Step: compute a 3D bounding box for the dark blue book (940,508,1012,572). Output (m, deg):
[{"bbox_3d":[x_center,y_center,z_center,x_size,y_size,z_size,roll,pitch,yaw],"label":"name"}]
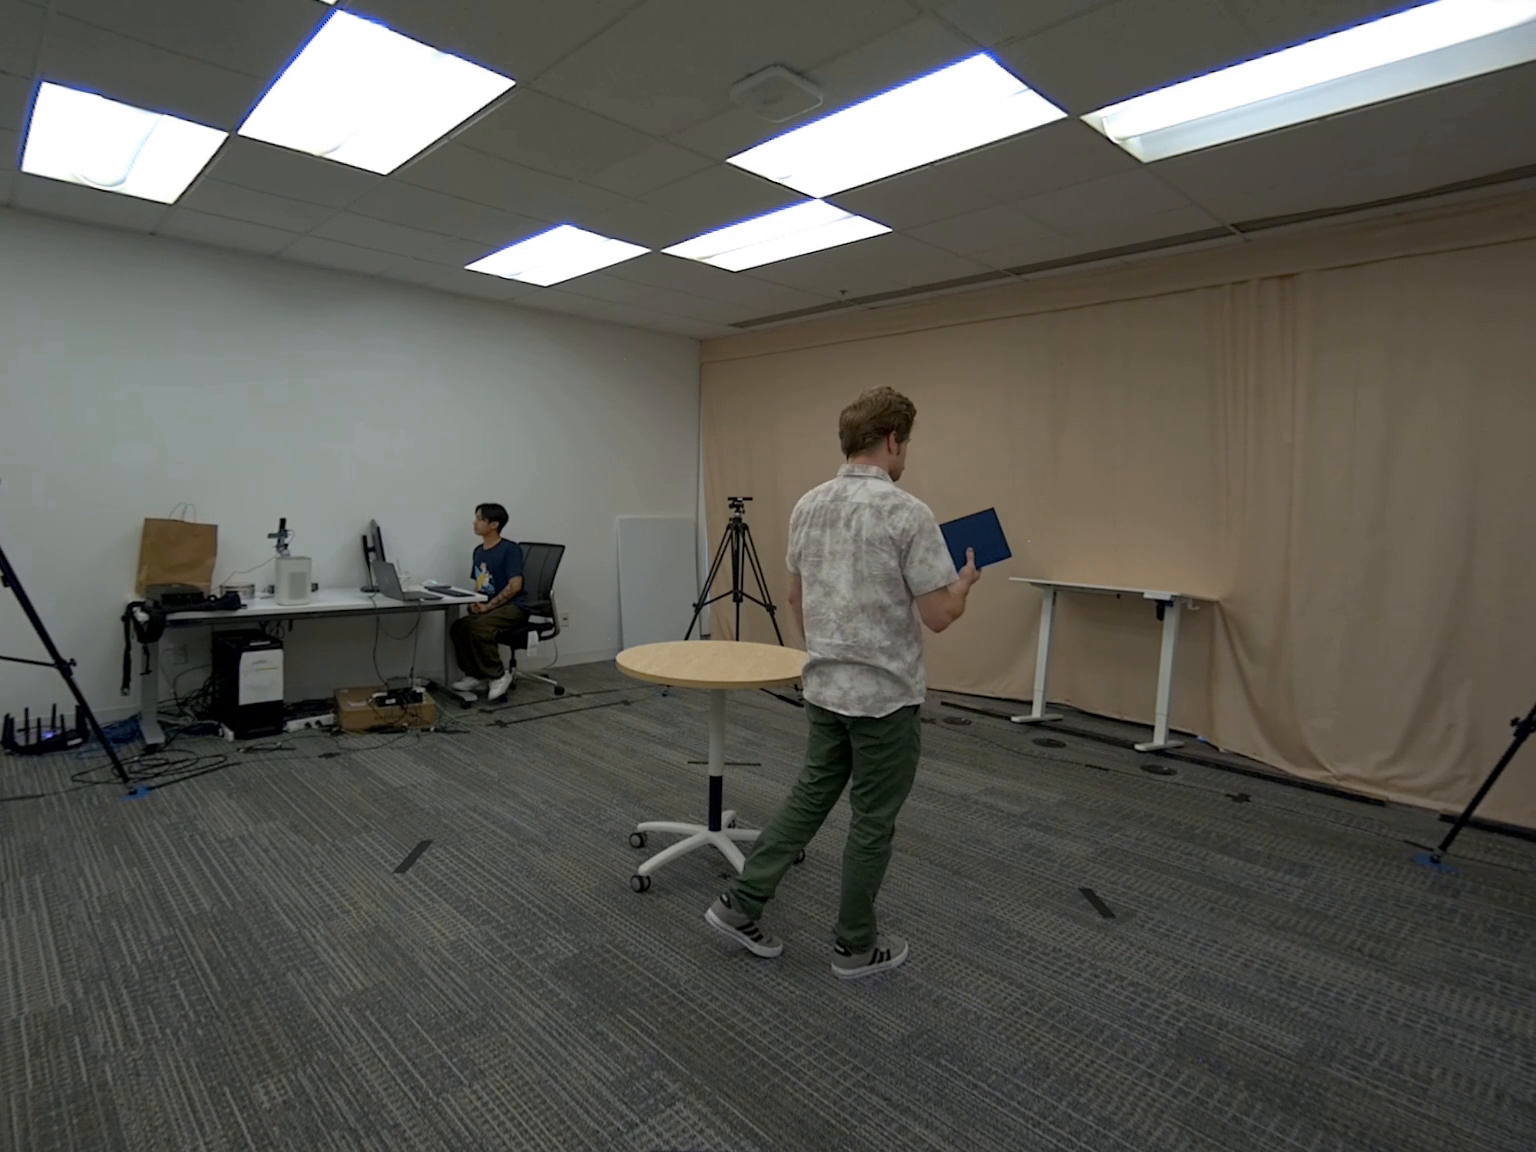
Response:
[{"bbox_3d":[0.590,-0.101,2.561,0.244,0.165,0.045,-16,-9,-5],"label":"dark blue book"}]
